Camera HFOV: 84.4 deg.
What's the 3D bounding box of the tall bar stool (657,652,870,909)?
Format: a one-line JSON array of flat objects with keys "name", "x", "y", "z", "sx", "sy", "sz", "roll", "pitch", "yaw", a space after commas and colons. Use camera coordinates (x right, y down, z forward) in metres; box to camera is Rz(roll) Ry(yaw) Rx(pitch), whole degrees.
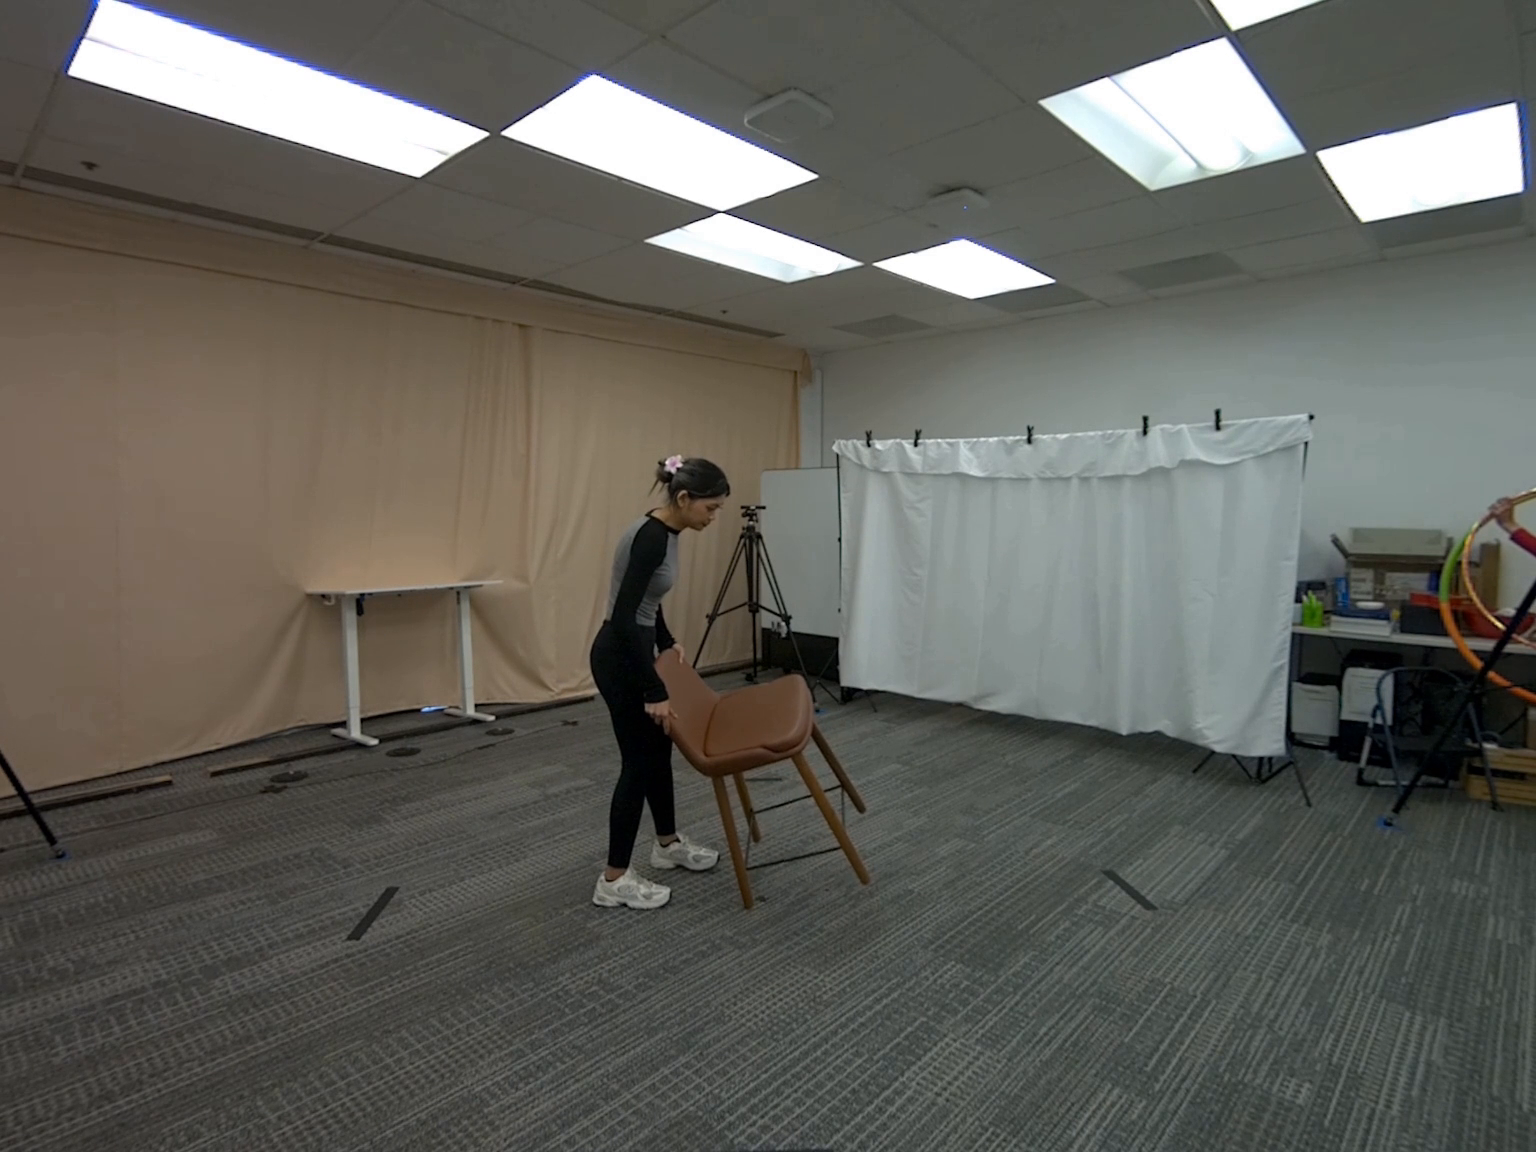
[{"name": "tall bar stool", "x": -0.010, "y": 0.644, "z": 2.912, "sx": 0.473, "sy": 0.876, "sz": 0.459, "roll": -21, "pitch": 17, "yaw": 13}]
